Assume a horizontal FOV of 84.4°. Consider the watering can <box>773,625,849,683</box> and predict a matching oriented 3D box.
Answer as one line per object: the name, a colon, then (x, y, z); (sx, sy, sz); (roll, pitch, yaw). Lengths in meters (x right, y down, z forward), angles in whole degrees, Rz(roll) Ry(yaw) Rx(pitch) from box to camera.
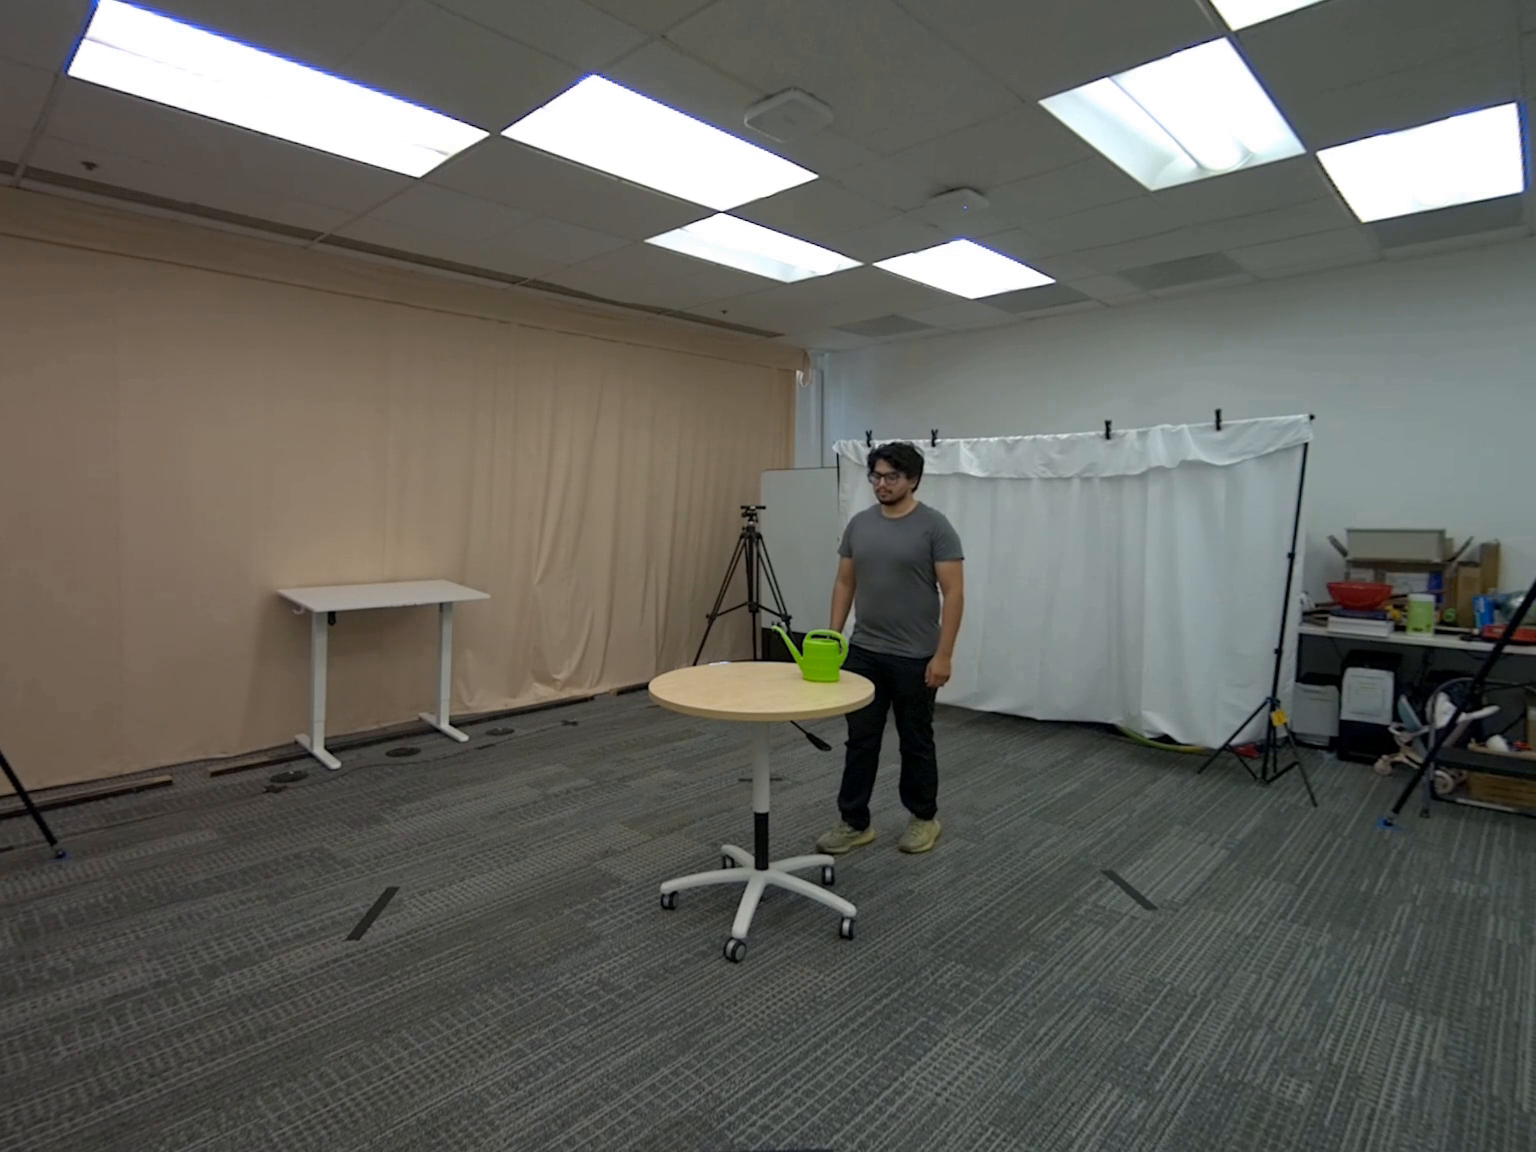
watering can: (0.158, 0.272, 2.963); (0.287, 0.176, 0.095); (5, 5, 34)
